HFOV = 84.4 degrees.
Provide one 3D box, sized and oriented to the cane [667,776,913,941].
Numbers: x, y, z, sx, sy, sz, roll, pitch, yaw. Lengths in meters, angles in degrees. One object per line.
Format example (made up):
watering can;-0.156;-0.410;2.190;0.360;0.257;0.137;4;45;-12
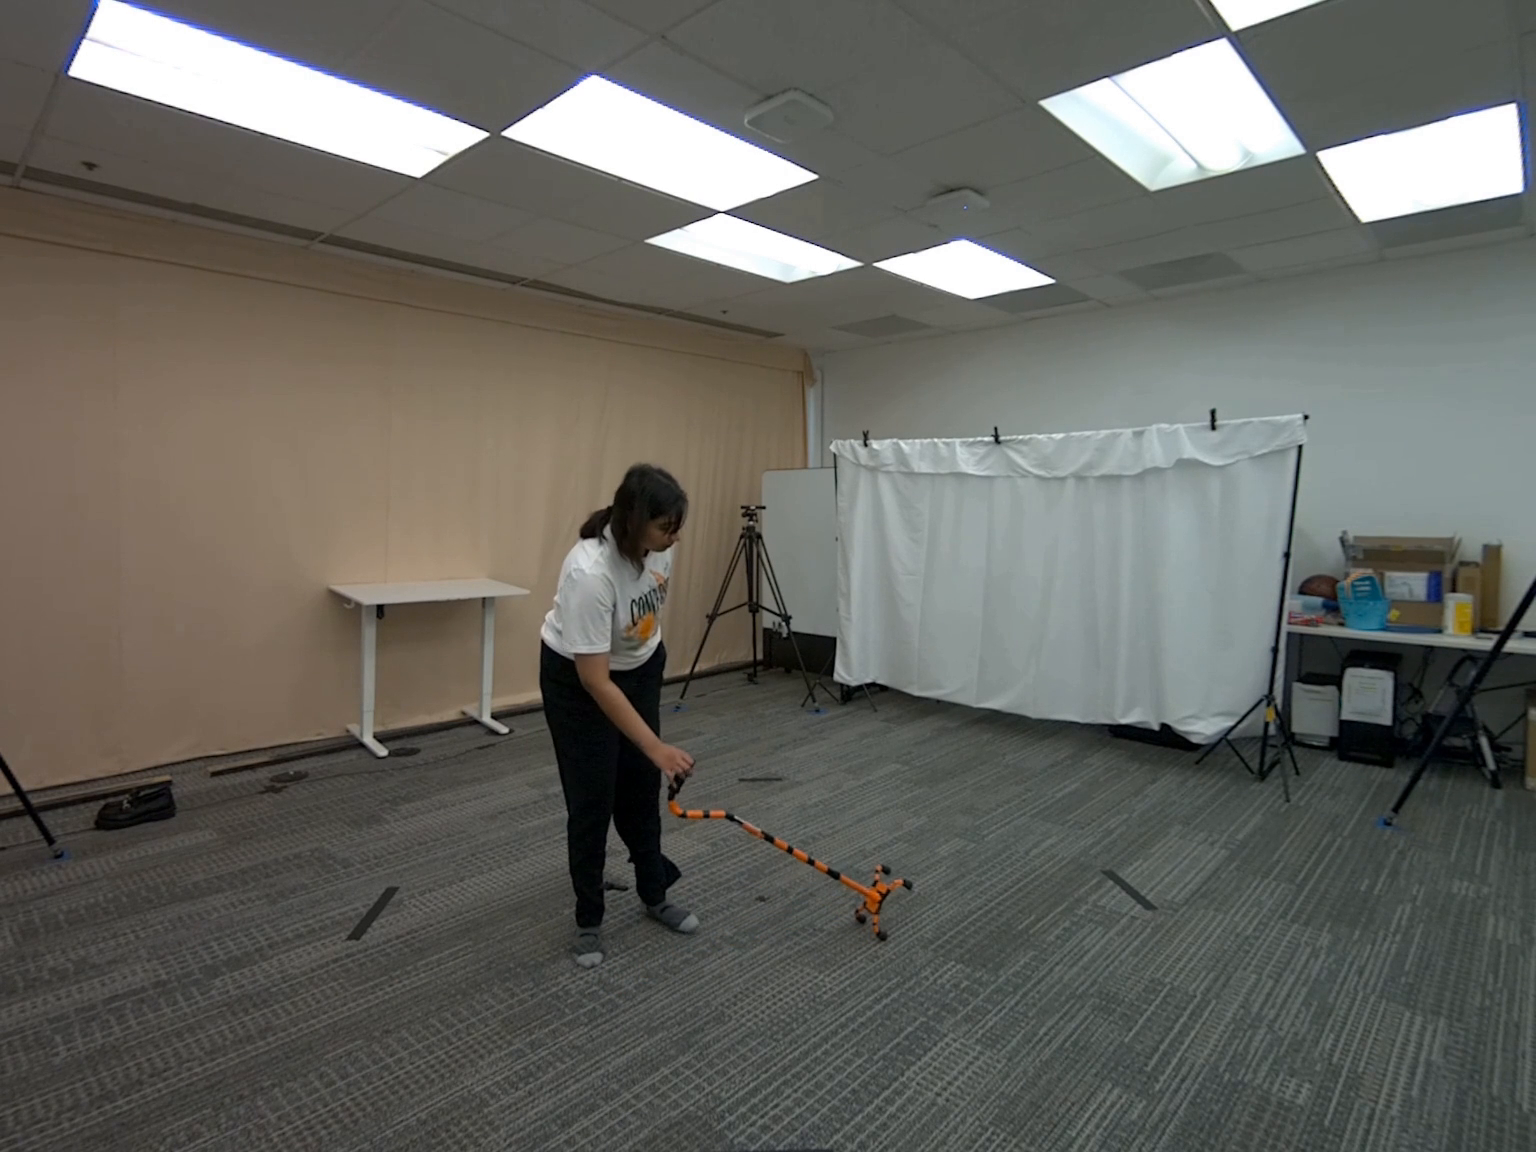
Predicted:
cane;0.059;0.843;2.602;0.886;0.206;0.155;35;-9;-20
